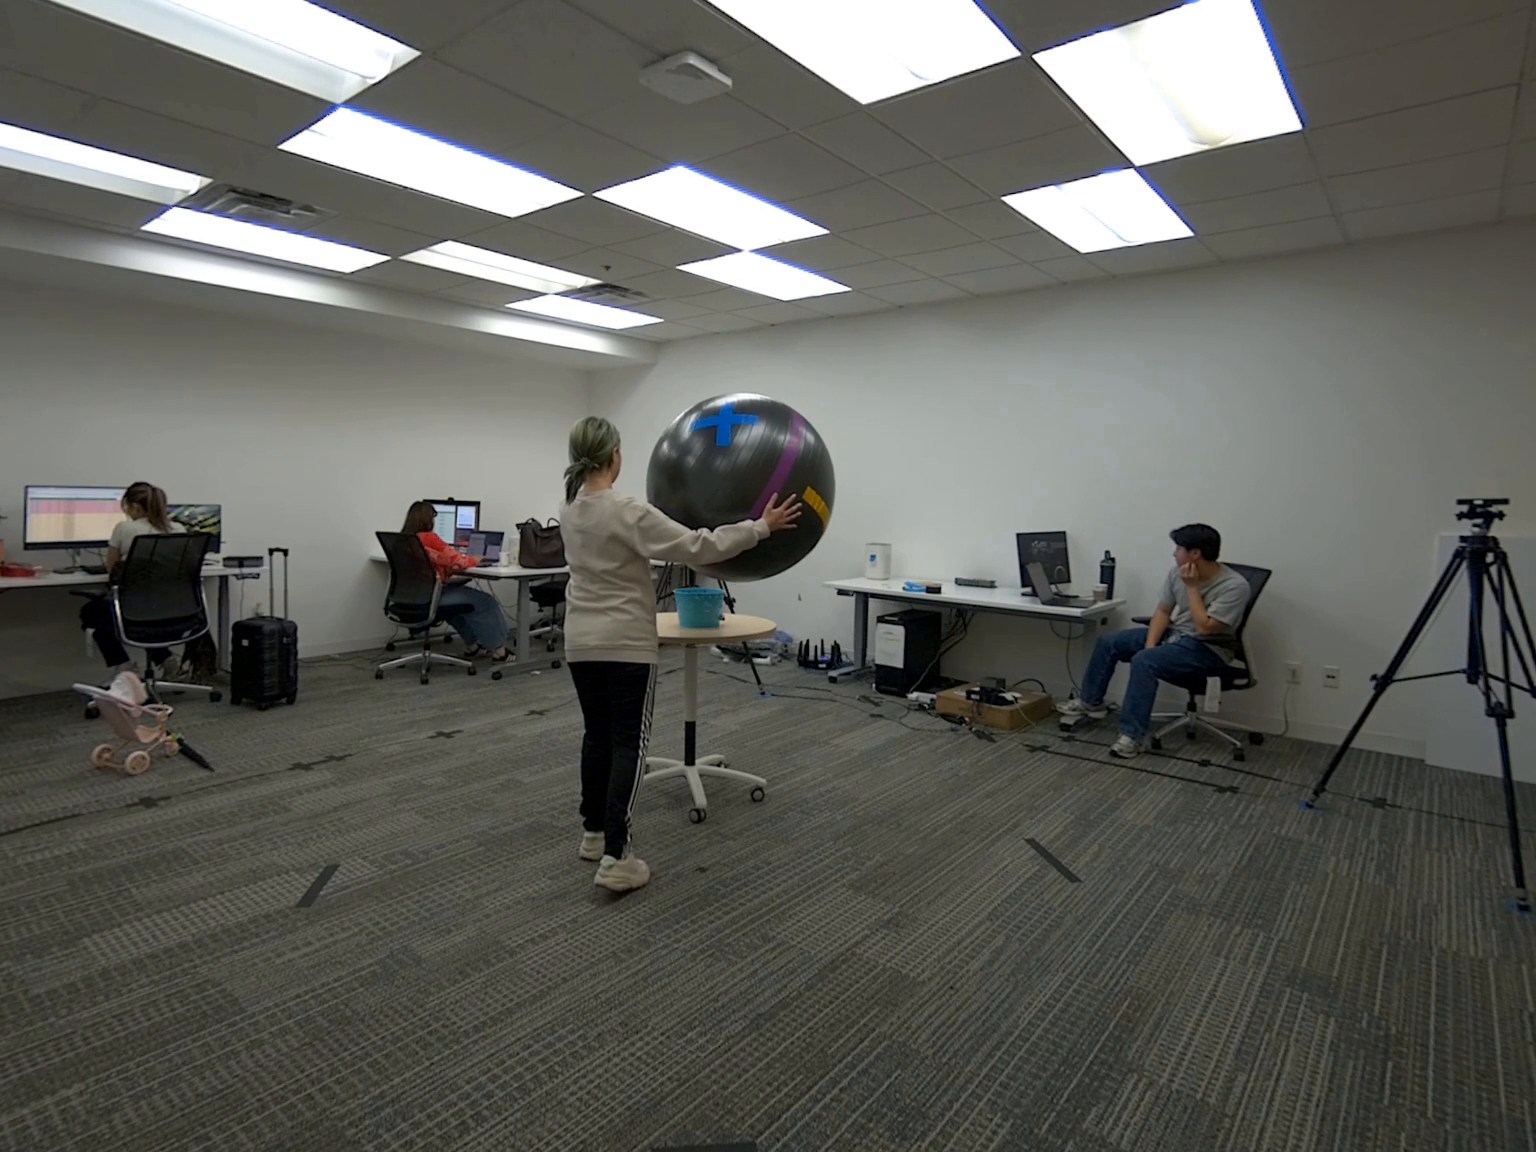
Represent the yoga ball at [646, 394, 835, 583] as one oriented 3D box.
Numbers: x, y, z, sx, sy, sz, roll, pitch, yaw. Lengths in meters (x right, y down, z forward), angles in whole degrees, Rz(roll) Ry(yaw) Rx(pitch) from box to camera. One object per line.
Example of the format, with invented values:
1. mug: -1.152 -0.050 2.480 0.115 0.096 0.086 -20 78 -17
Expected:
1. yoga ball: -0.113 -0.351 3.419 0.757 0.756 0.762 1 4 -2
